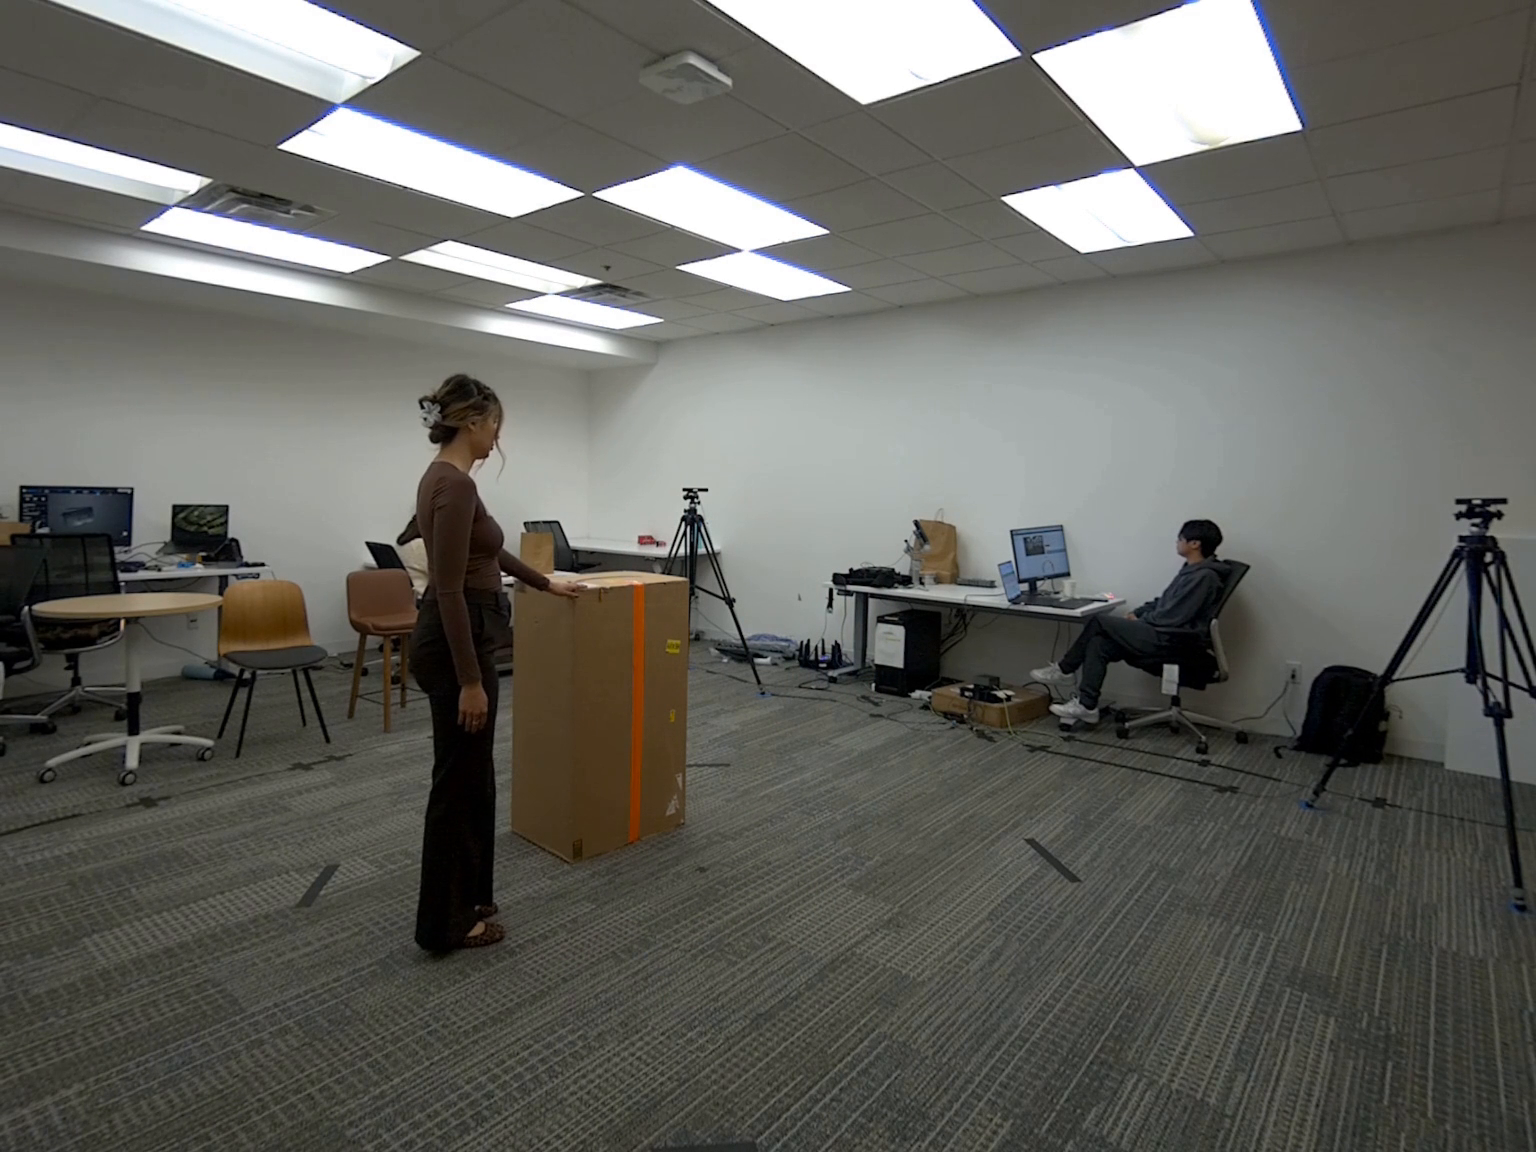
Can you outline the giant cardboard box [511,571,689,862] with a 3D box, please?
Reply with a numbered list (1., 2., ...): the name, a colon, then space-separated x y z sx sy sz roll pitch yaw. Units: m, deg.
1. giant cardboard box: -0.688 0.519 3.455 0.462 1.024 0.566 5 5 45
